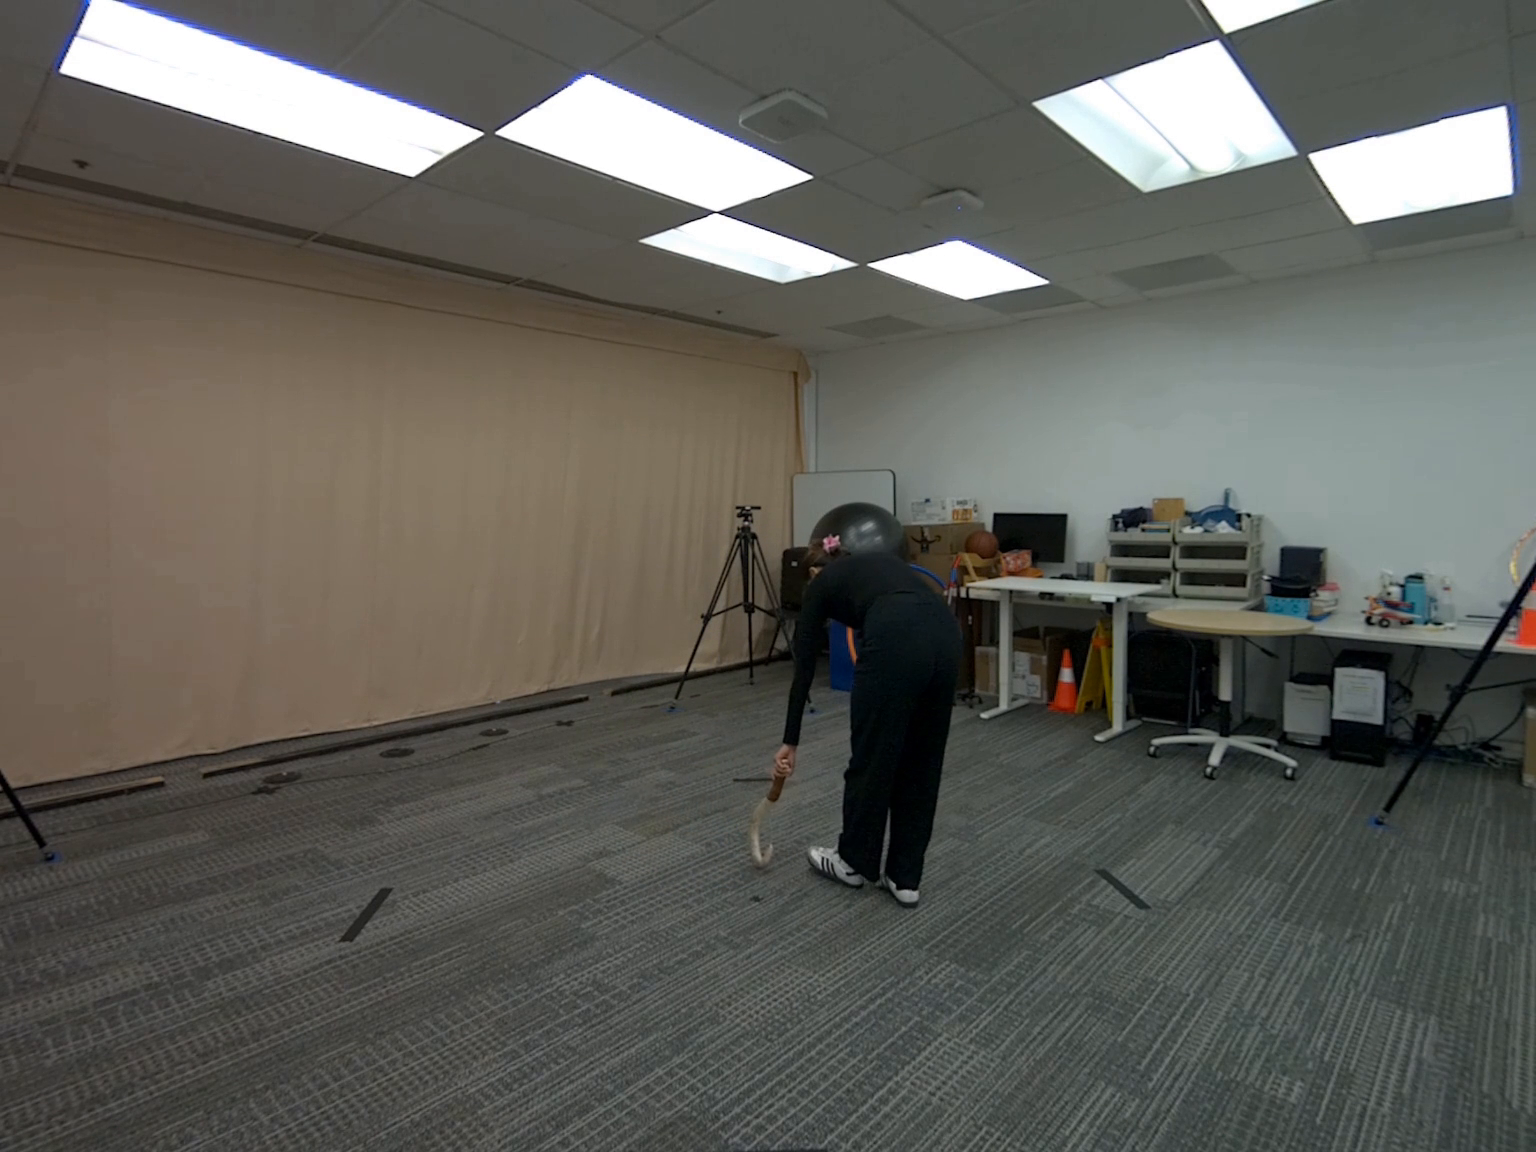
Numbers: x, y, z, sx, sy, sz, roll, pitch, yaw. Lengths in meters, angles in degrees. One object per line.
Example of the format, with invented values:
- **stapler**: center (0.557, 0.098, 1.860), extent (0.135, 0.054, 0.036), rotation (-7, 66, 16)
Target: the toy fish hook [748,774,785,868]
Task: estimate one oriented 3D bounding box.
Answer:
- **toy fish hook**: center (0.010, 0.899, 3.150), extent (0.047, 0.501, 0.231), rotation (0, 38, -20)
